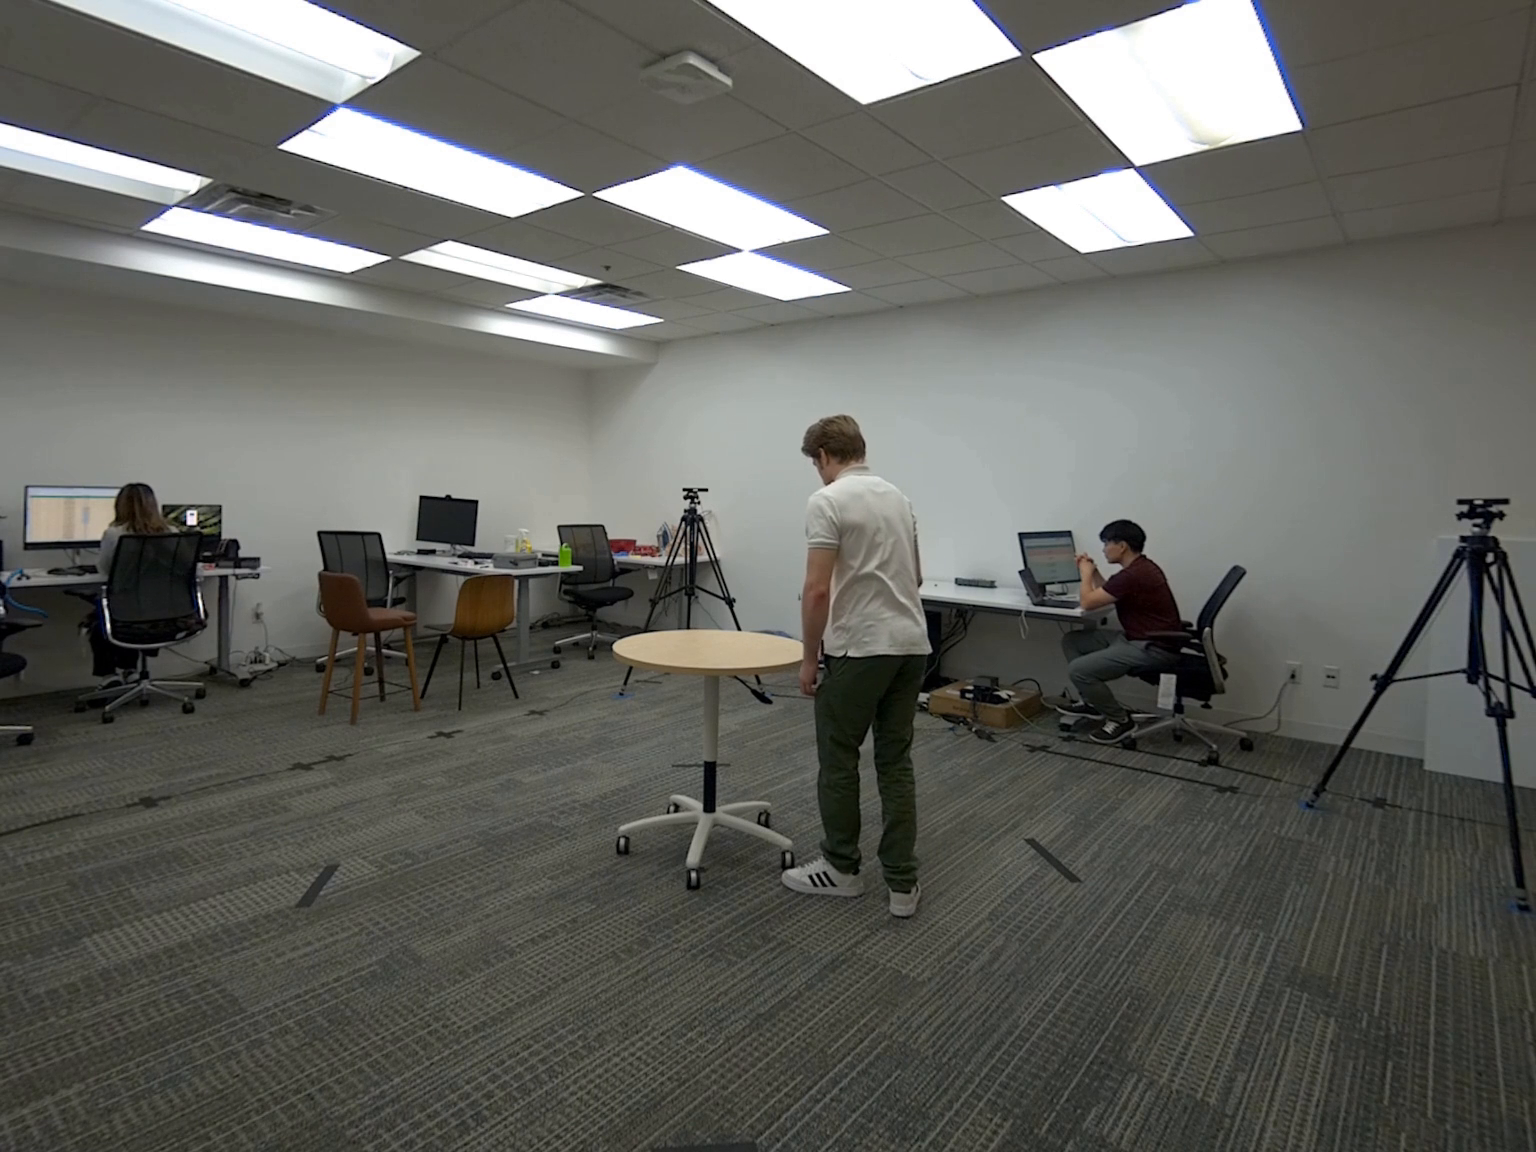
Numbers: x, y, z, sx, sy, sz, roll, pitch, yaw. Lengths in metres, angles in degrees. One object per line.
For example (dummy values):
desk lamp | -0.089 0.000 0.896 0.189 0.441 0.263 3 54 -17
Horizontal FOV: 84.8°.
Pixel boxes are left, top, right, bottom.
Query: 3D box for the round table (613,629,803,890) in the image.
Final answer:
round table | -0.236 0.656 3.300 0.784 0.784 0.789 1 5 -2
